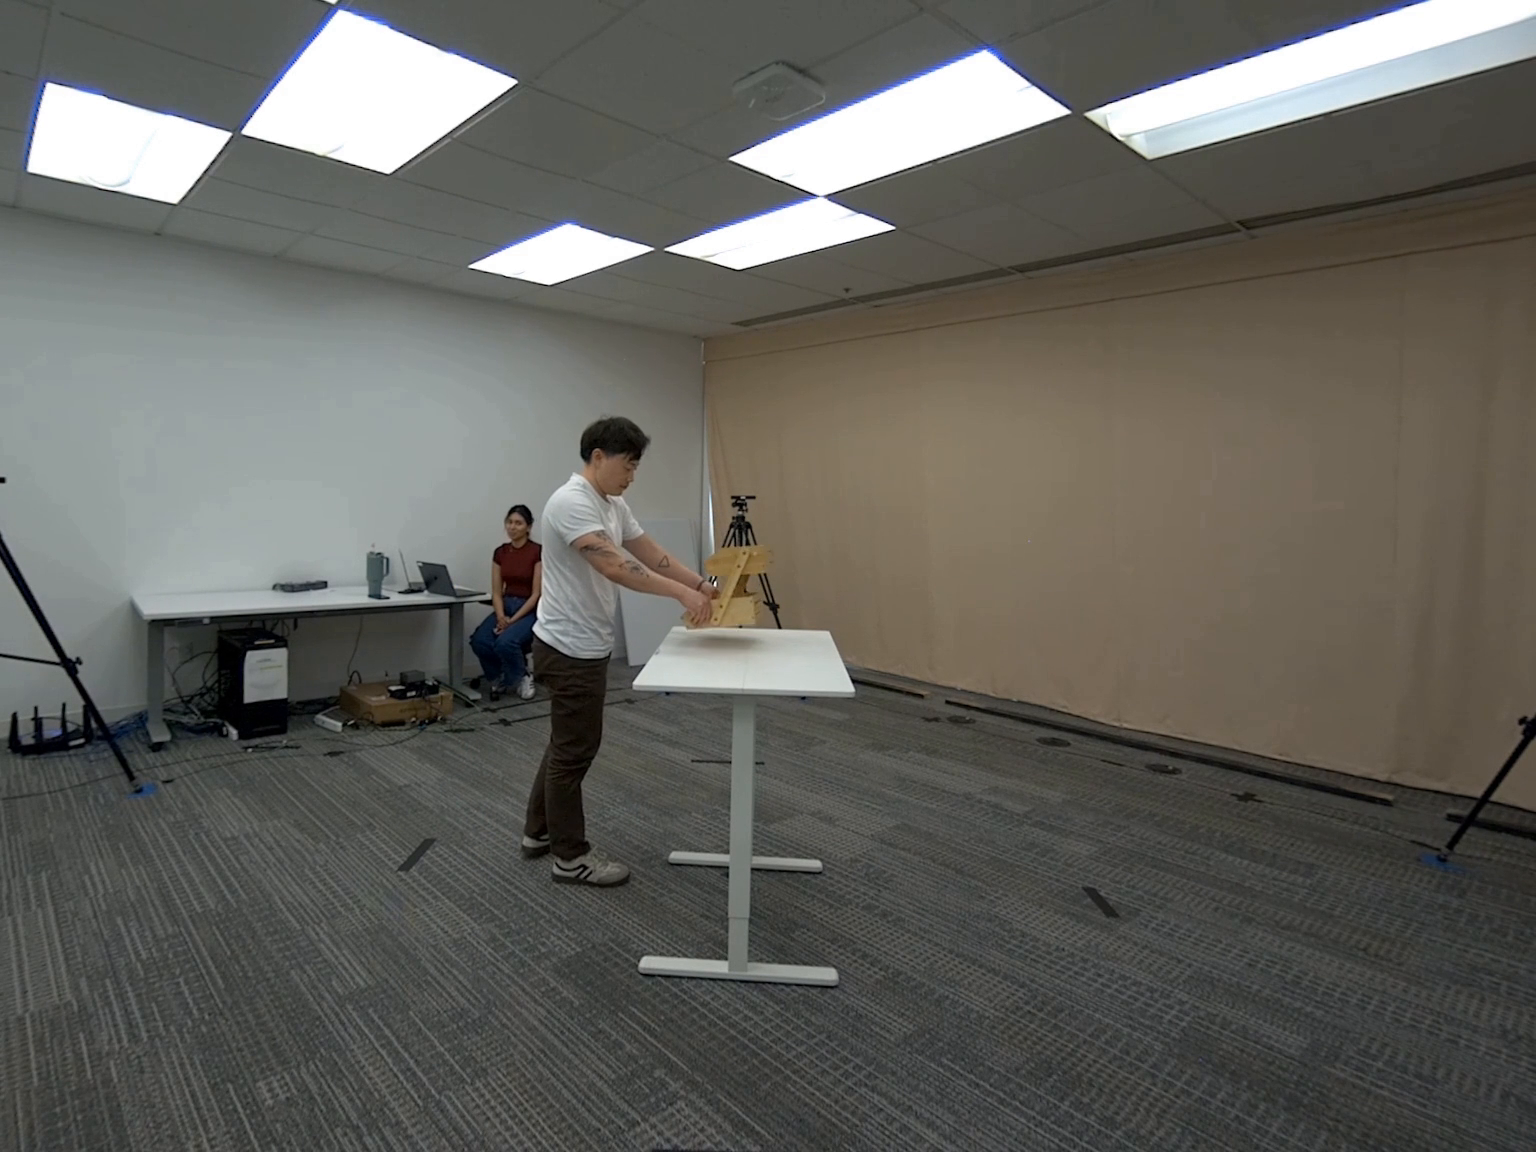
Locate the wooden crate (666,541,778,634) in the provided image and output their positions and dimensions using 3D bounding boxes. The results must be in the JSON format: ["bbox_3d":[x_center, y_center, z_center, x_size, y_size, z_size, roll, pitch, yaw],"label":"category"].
[{"bbox_3d":[-0.152,0.031,2.940,0.304,0.273,0.322,-6,1,9],"label":"wooden crate"}]
